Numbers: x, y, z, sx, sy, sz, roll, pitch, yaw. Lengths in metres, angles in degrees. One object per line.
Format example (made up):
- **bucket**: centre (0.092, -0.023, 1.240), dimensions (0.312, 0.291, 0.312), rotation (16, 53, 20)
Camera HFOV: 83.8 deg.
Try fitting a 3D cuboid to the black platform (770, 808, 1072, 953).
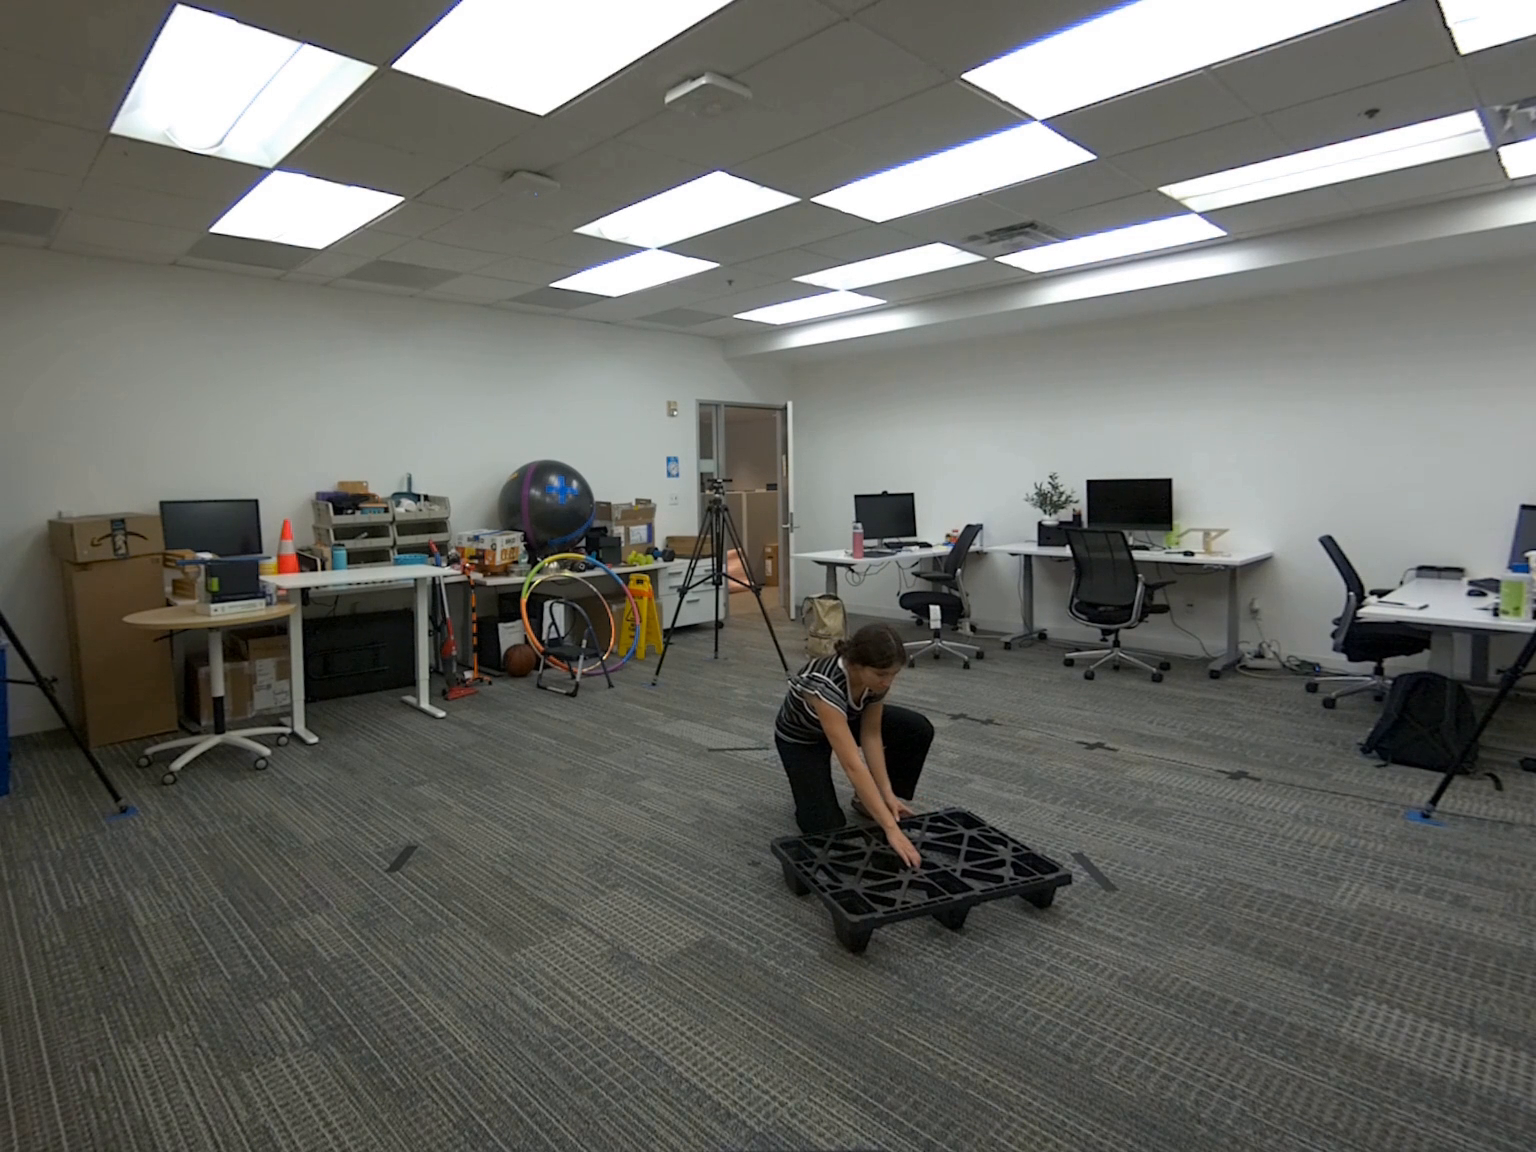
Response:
- **black platform**: centre (0.493, 1.001, 2.849), dimensions (0.791, 0.142, 0.619), rotation (-4, 8, -21)
